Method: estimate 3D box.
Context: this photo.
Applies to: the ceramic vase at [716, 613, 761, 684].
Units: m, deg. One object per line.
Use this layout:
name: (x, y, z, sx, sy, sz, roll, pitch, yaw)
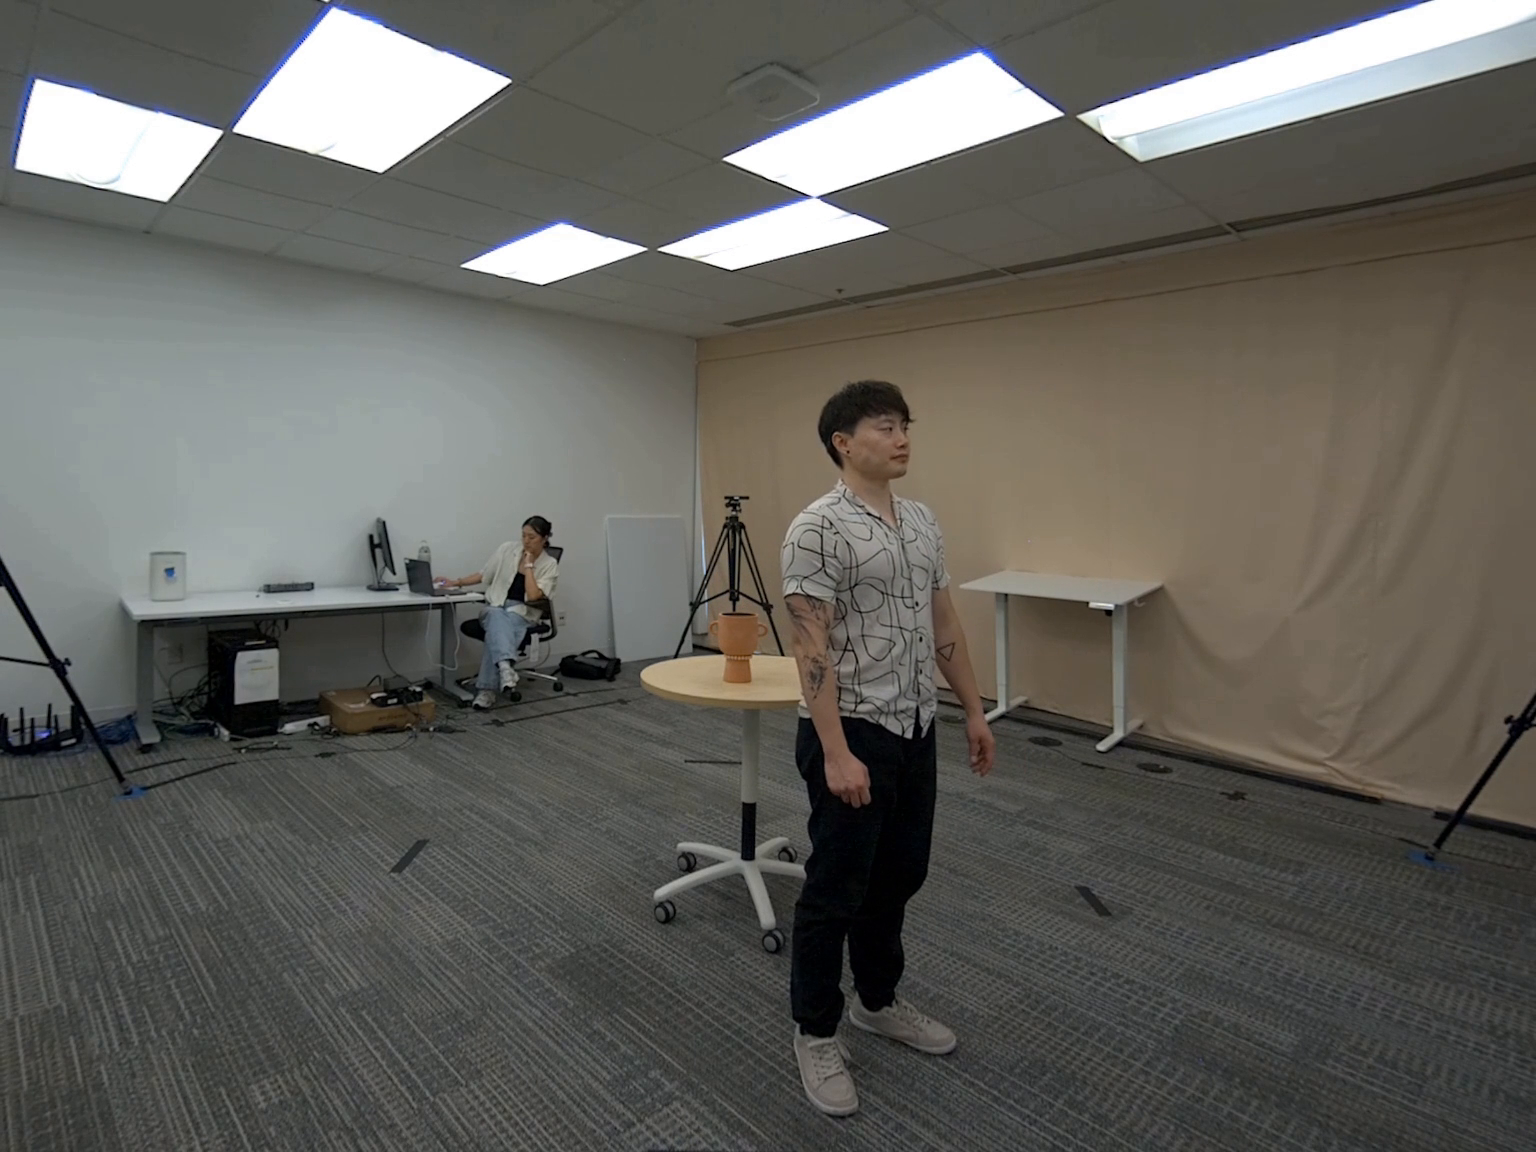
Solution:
ceramic vase: (-0.107, 0.239, 2.787, 0.131, 0.219, 0.163, -3, 6, -44)
